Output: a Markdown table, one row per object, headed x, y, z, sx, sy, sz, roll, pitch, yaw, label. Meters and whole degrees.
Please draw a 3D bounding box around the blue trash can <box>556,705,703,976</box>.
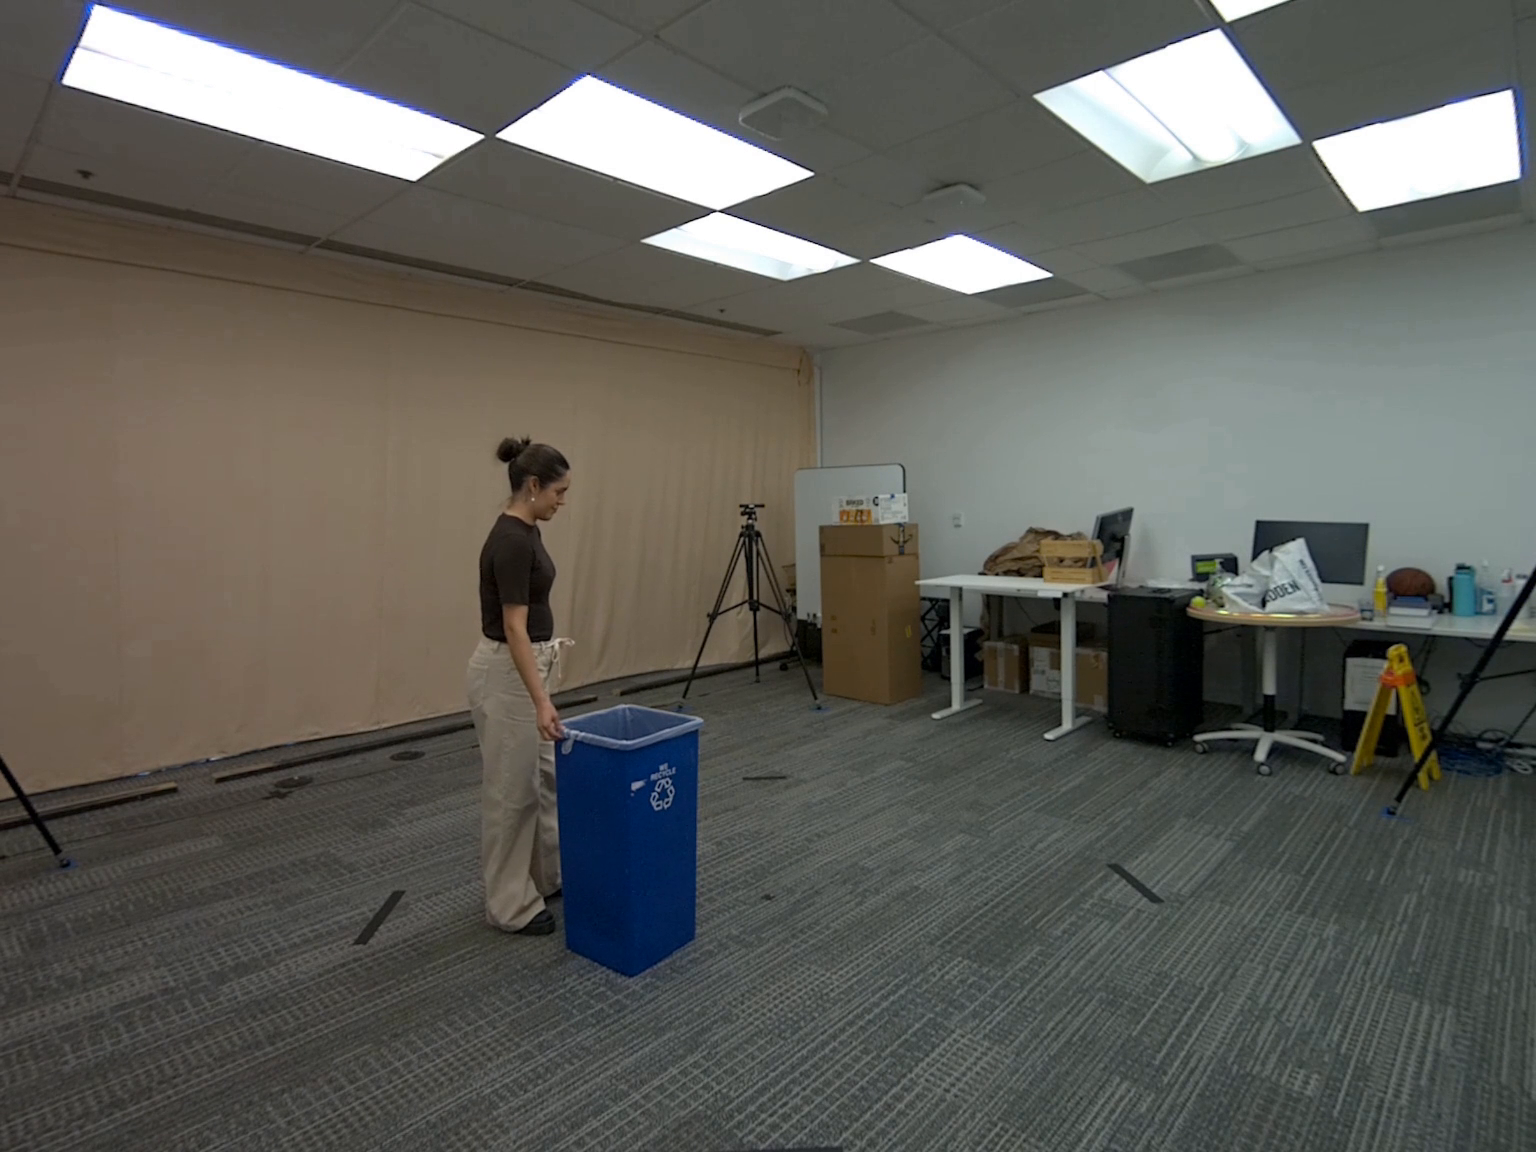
| x | y | z | sx | sy | sz | roll | pitch | yaw | label |
| --- | --- | --- | --- | --- | --- | --- | --- | --- | --- |
| -0.441 | 0.816 | 2.681 | 0.390 | 0.712 | 0.363 | 2 | 4 | 37 | blue trash can |
